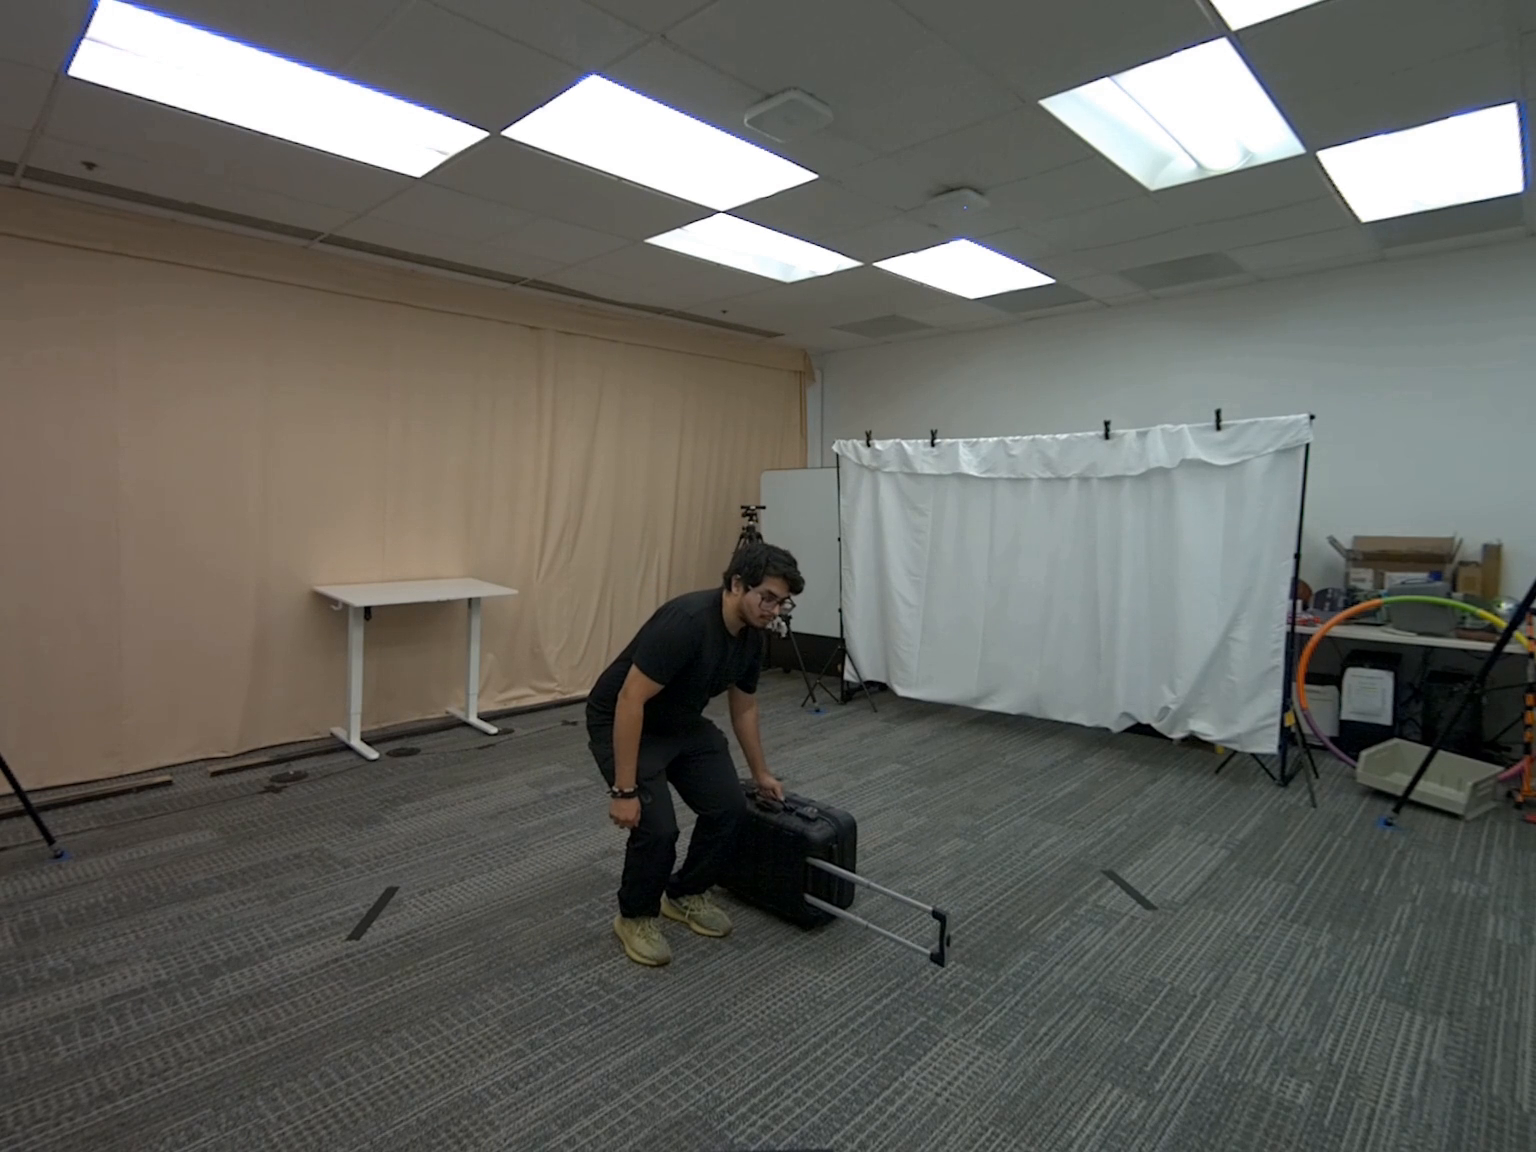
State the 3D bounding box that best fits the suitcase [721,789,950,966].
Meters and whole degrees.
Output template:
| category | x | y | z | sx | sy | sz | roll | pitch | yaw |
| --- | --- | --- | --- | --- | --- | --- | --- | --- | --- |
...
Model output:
| category | x | y | z | sx | sy | sz | roll | pitch | yaw |
| --- | --- | --- | --- | --- | --- | --- | --- | --- | --- |
| suitcase | 0.208 | 0.968 | 2.804 | 1.012 | 0.383 | 0.249 | 5 | 4 | 41 |
